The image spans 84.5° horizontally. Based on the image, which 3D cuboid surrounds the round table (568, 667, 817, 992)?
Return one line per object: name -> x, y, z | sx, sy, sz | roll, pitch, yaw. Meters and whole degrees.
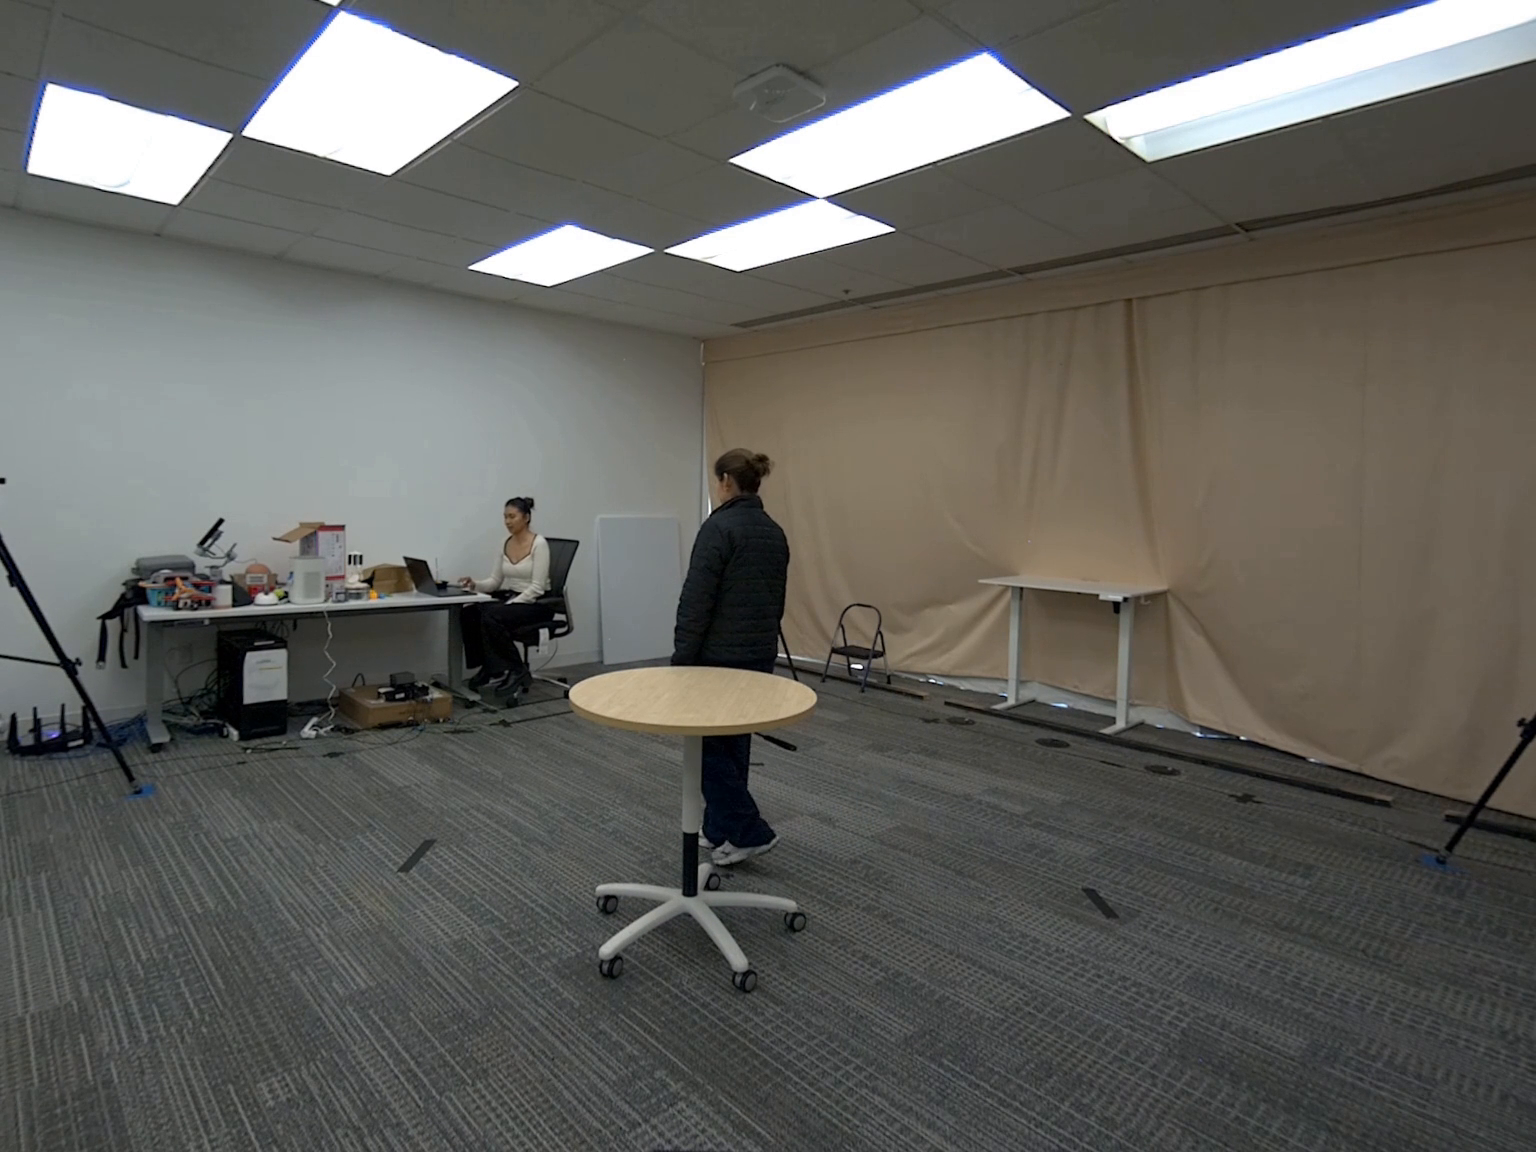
round table -> -0.236, 0.756, 2.636 | 0.784, 0.784, 0.788 | 2, 5, -1
